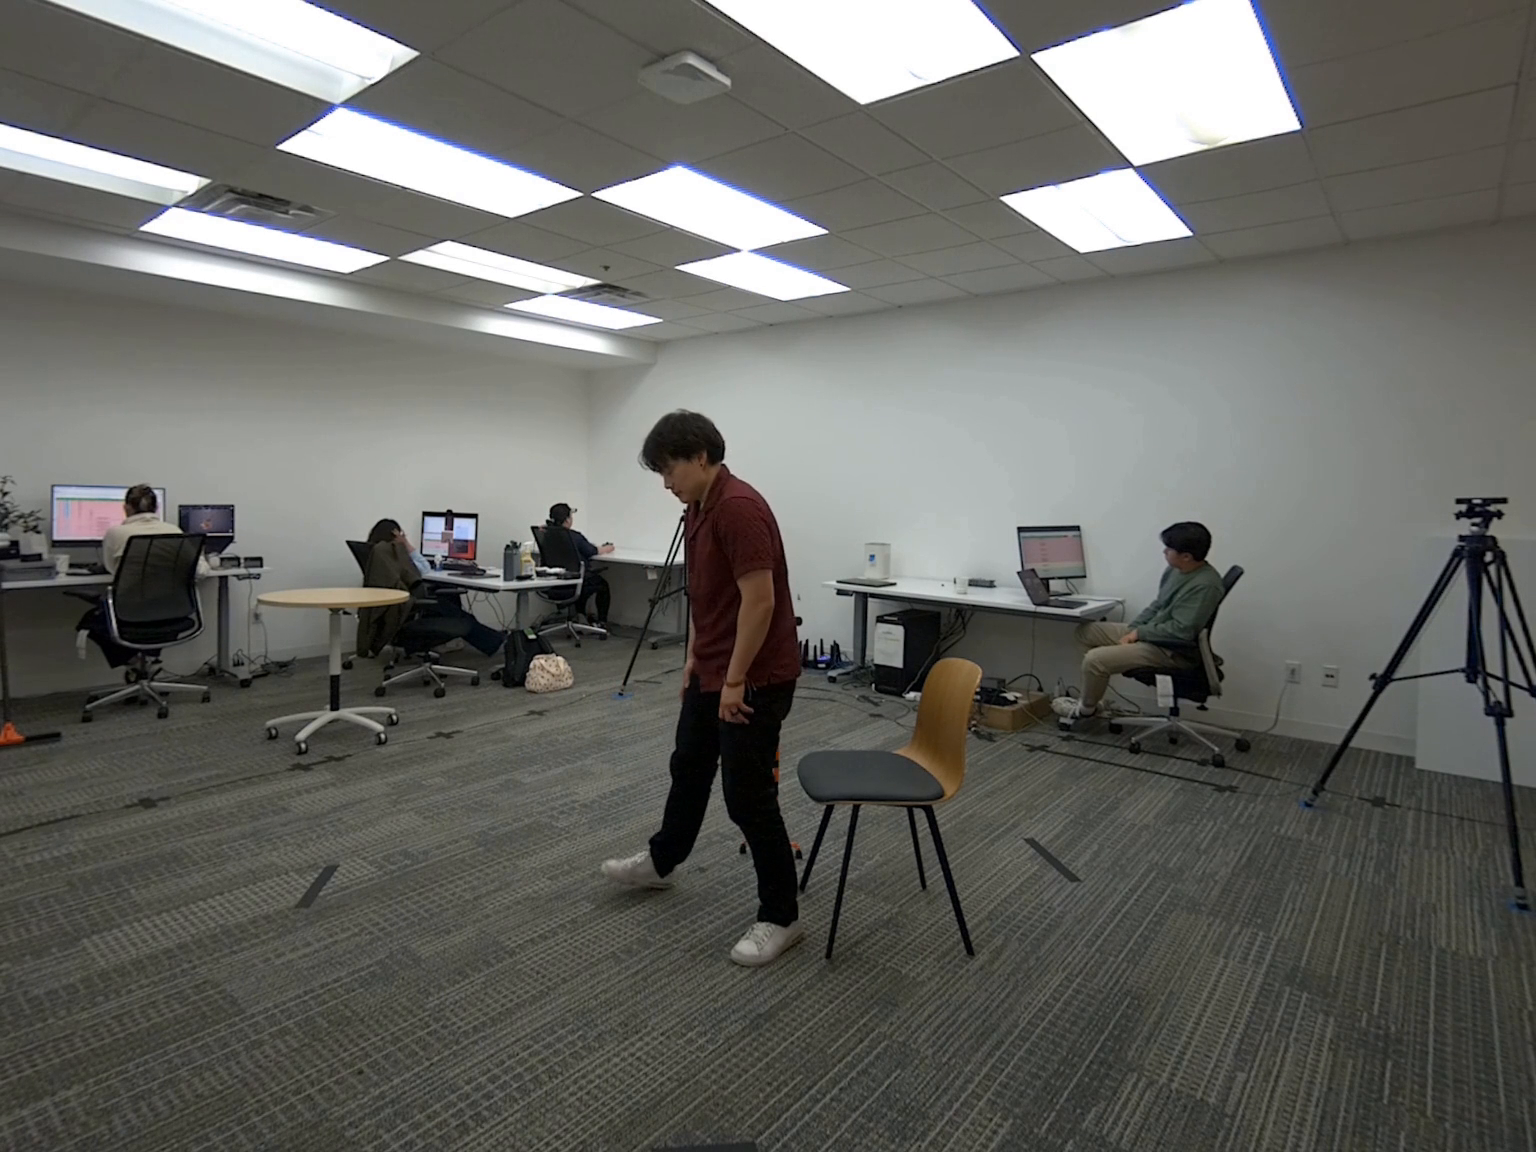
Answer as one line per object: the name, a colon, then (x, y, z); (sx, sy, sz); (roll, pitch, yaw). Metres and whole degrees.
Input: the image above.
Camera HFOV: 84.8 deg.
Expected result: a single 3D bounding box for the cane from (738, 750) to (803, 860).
cane: (0.016, 0.605, 3.217); (0.201, 0.905, 0.156); (0, 3, -27)
